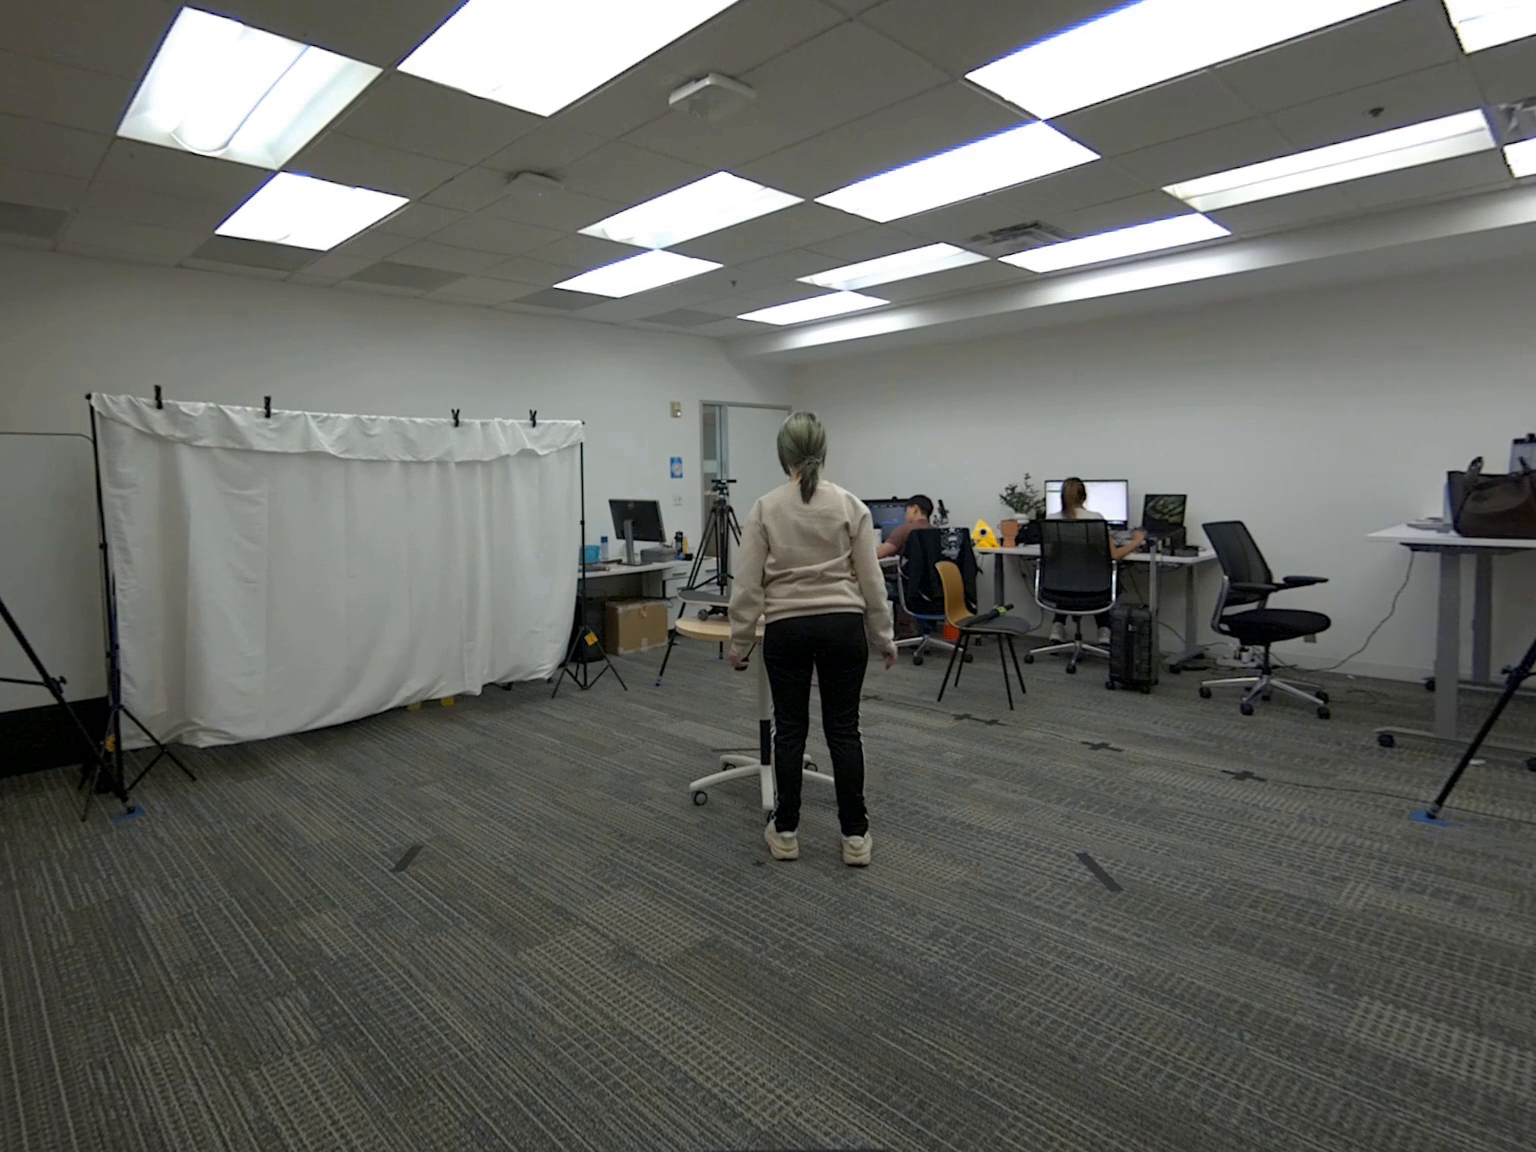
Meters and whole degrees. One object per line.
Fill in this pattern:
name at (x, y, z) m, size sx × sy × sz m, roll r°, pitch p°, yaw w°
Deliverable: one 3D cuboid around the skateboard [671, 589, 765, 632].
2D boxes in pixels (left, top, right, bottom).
skateboard at (-0.075, 0.149, 3.696) m, size 0.809 × 0.110 × 0.189 m, roll 4°, pitch 10°, yaw 42°
